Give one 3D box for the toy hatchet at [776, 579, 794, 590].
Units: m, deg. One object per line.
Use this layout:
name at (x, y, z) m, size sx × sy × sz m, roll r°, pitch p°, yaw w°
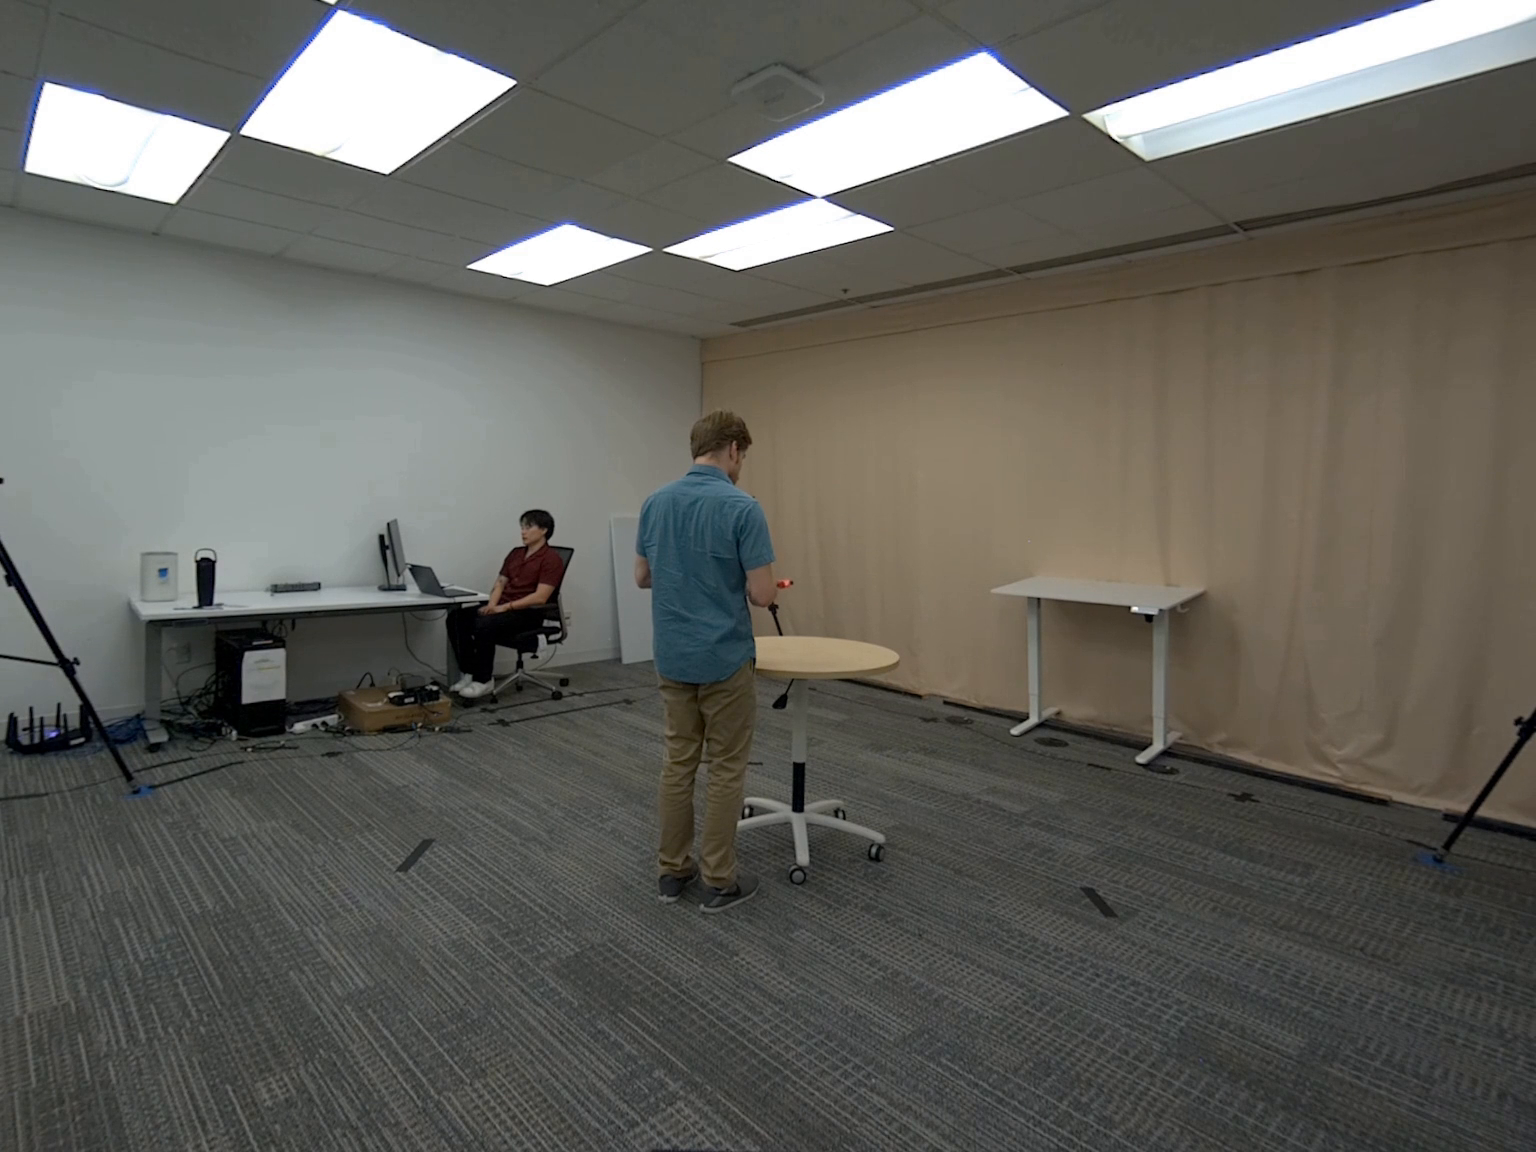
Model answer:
toy hatchet at (-0.051, 0.043, 3.113) m, size 0.273 × 0.029 × 0.130 m, roll -3°, pitch 9°, yaw 15°
